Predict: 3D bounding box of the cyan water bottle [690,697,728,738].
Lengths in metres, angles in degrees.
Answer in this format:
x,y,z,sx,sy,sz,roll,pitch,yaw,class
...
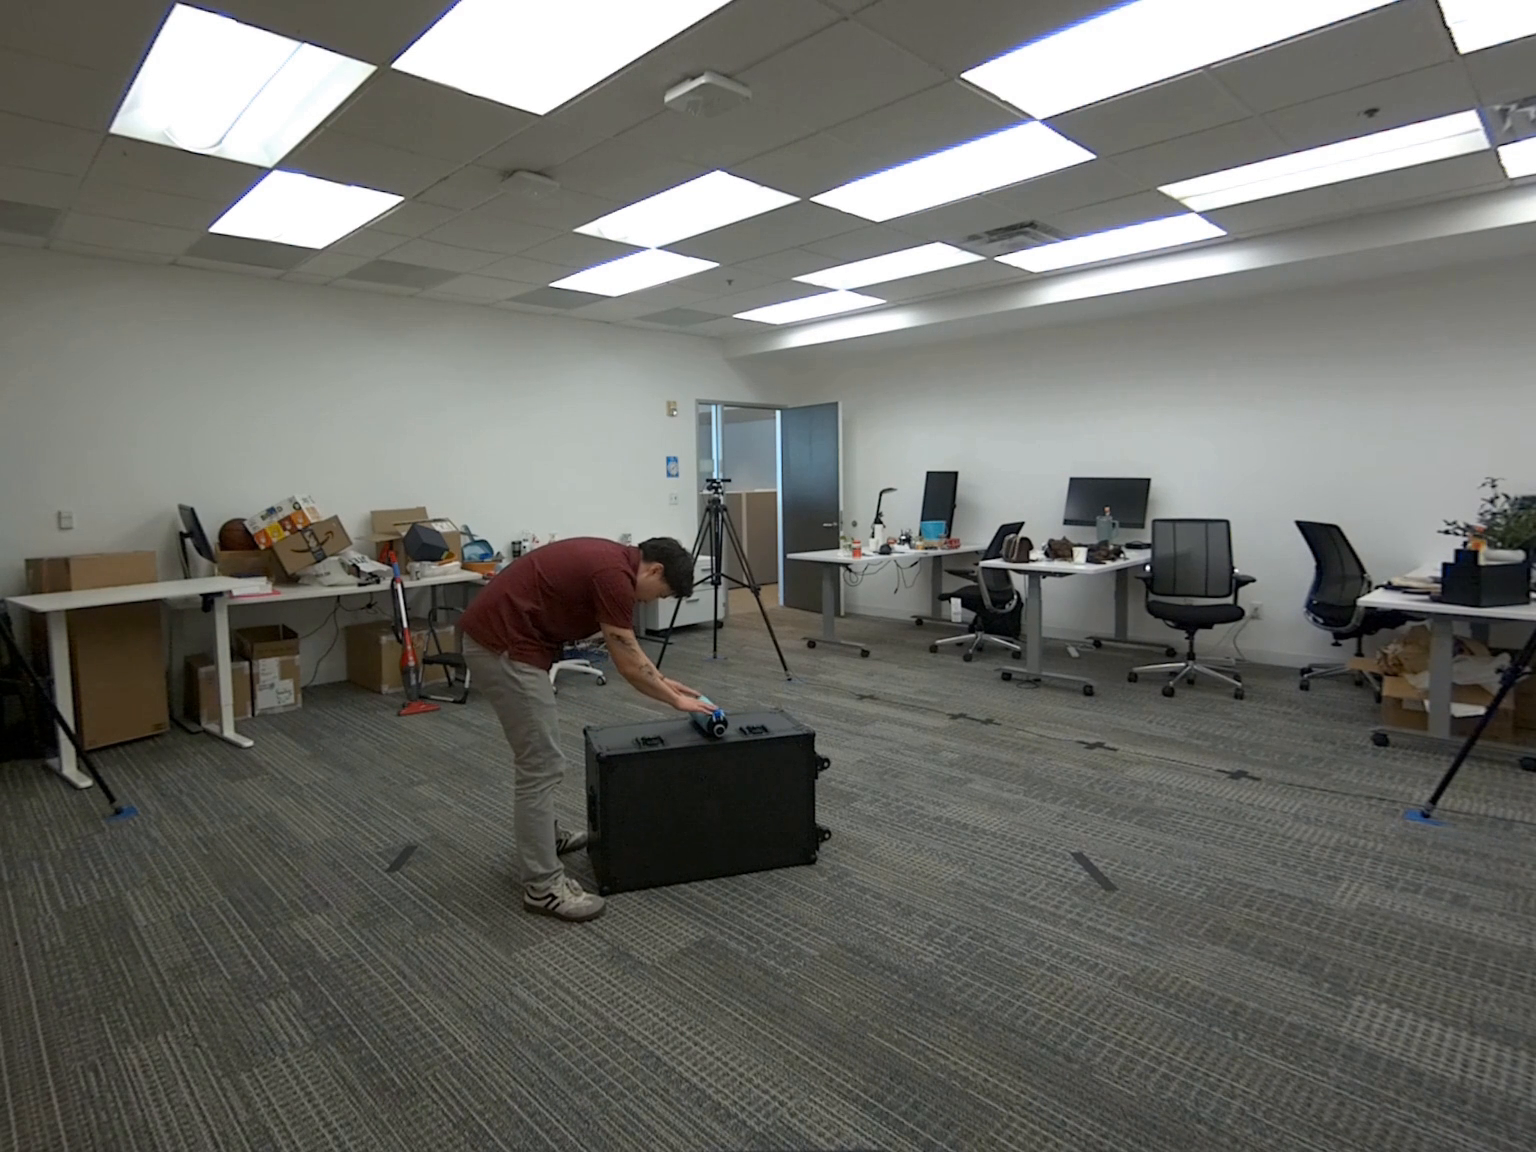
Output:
x,y,z,sx,sy,sz,roll,pitch,yaw,class
-0.220,0.508,3.139,0.091,0.092,0.288,-2,6,-16,cyan water bottle
